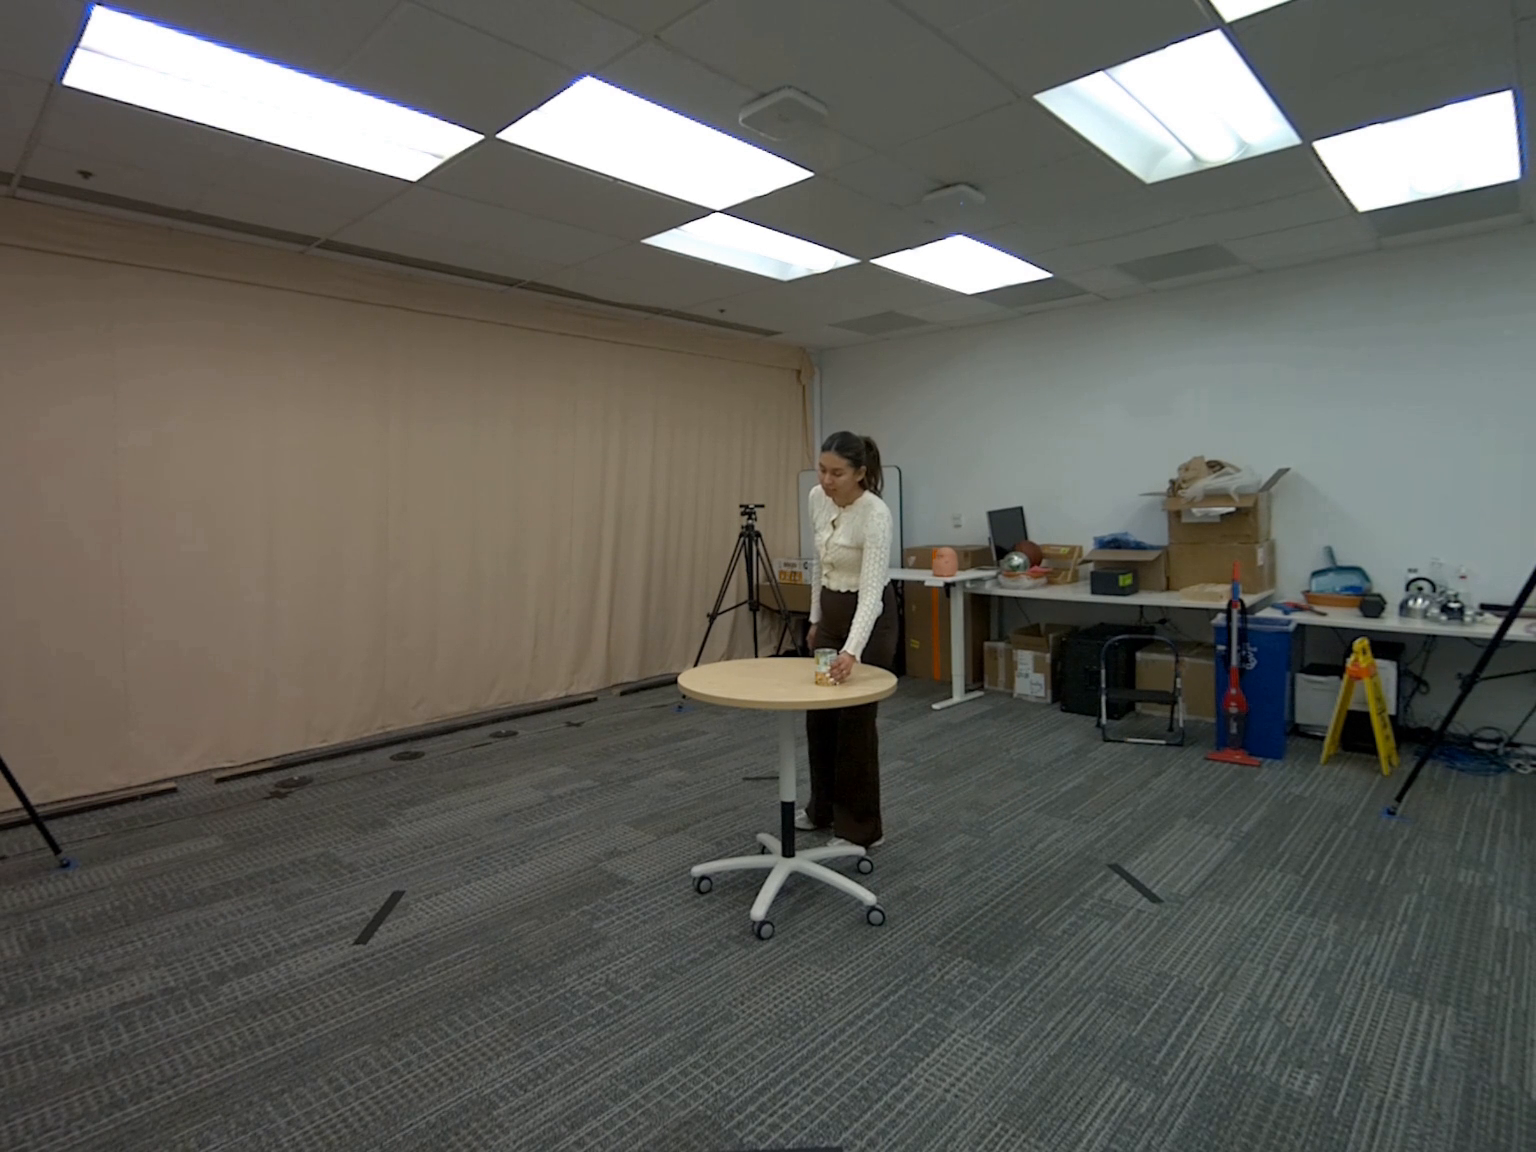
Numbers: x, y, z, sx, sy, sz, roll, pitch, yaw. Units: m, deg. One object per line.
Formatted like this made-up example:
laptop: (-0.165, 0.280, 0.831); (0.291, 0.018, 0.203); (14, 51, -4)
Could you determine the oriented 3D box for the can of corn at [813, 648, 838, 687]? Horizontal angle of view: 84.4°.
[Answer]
can of corn: (0.201, 0.309, 2.840); (0.074, 0.111, 0.074); (0, 3, -2)
